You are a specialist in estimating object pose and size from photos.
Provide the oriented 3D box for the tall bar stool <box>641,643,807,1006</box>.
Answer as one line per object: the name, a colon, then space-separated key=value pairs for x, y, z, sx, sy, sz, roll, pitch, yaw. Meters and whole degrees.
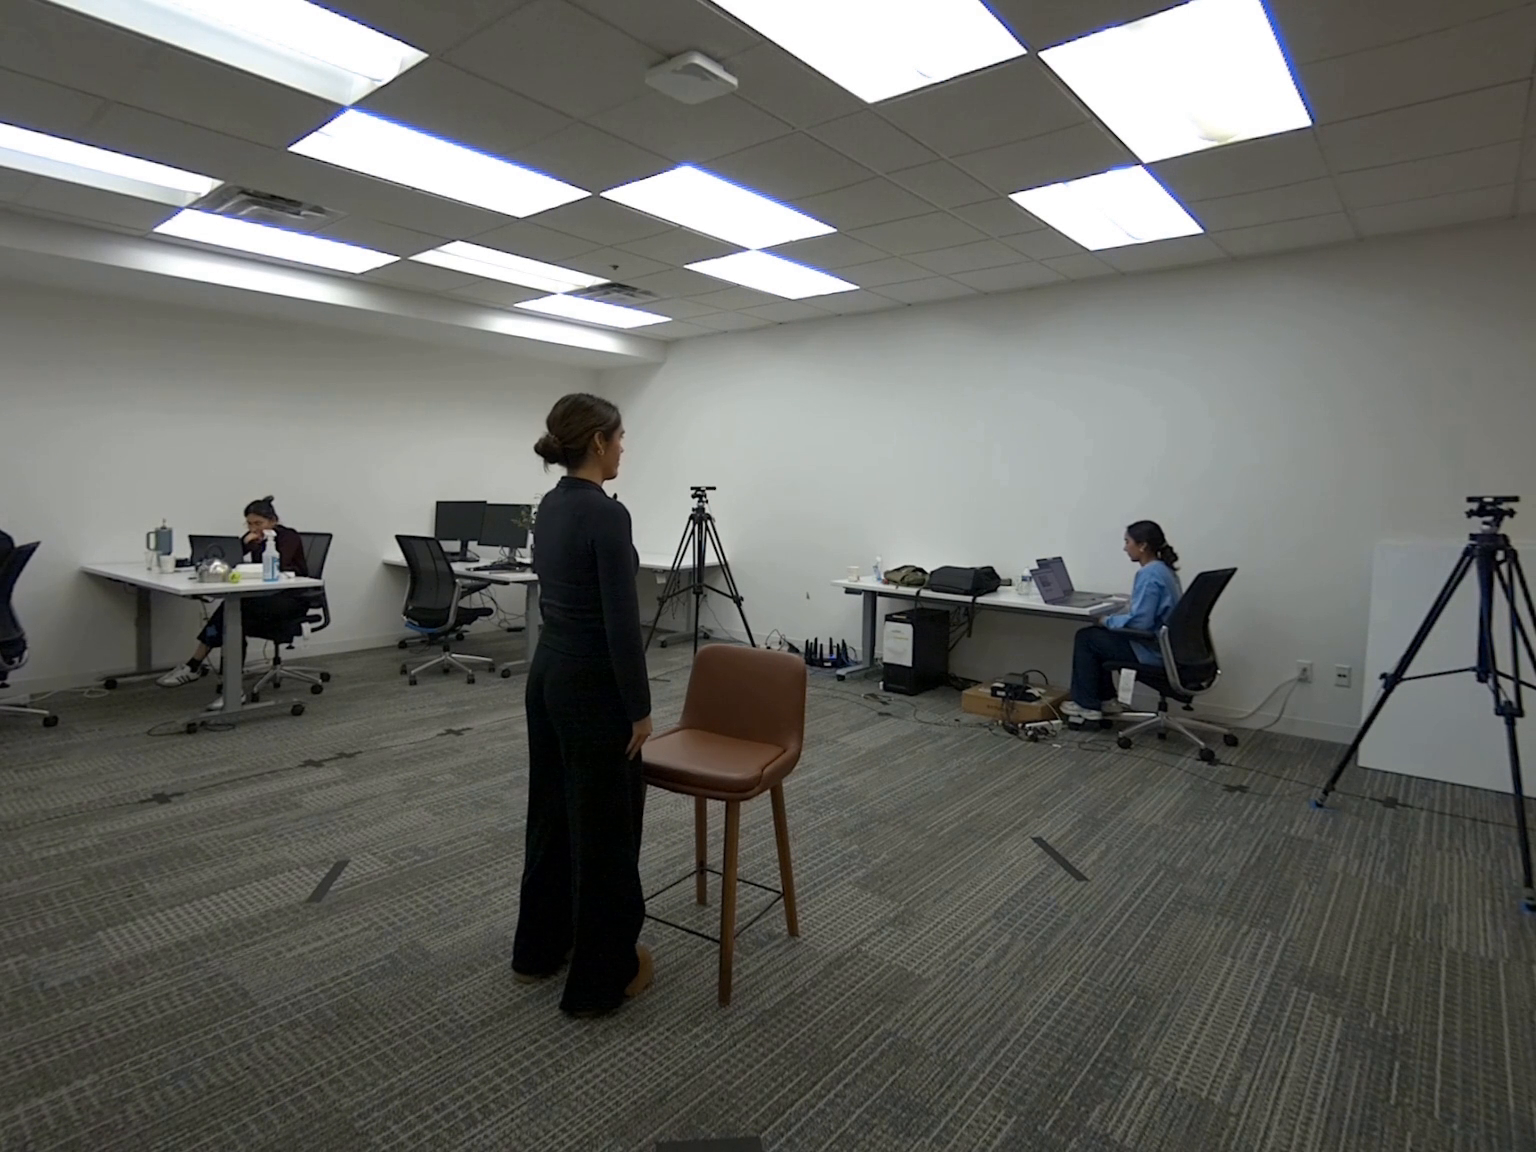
tall bar stool: x=-0.168 y=0.686 z=2.549 sx=0.470 sy=0.888 sz=0.454 roll=3 pitch=3 yaw=31
